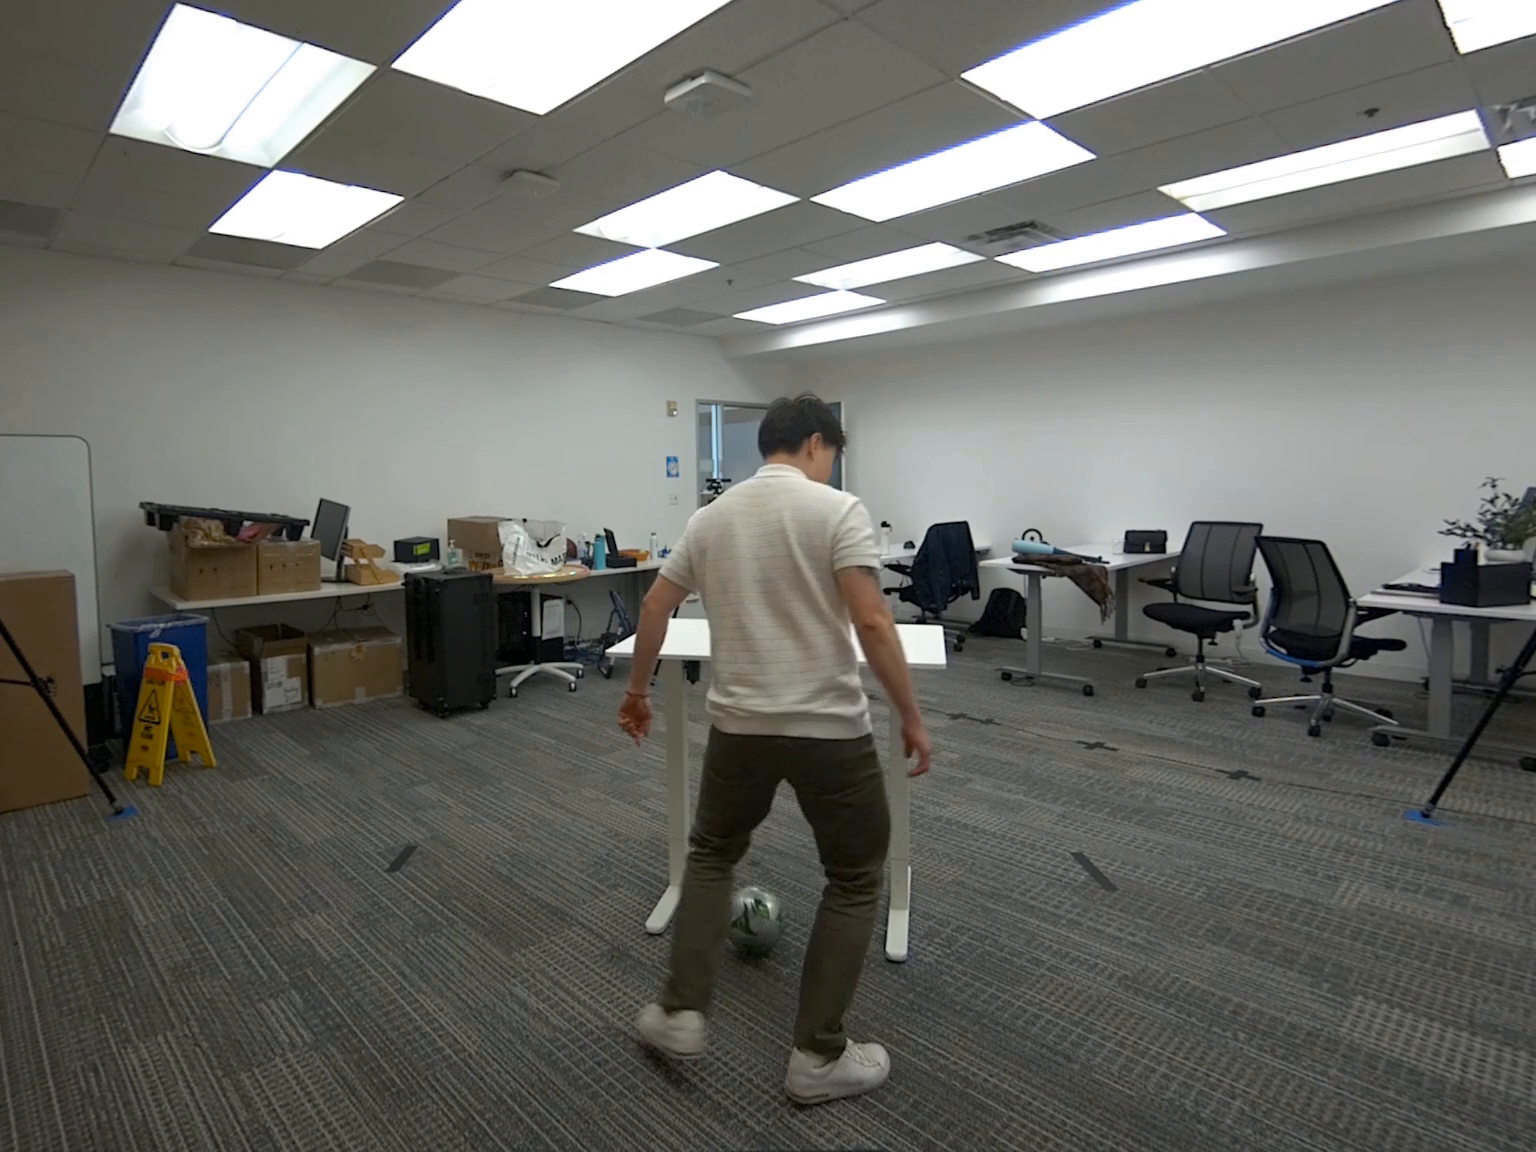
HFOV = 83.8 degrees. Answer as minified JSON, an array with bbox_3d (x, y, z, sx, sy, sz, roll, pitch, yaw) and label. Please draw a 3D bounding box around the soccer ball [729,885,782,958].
[{"bbox_3d":[-0.035,1.022,2.529,0.187,0.187,0.188,-1,5,-2],"label":"soccer ball"}]
